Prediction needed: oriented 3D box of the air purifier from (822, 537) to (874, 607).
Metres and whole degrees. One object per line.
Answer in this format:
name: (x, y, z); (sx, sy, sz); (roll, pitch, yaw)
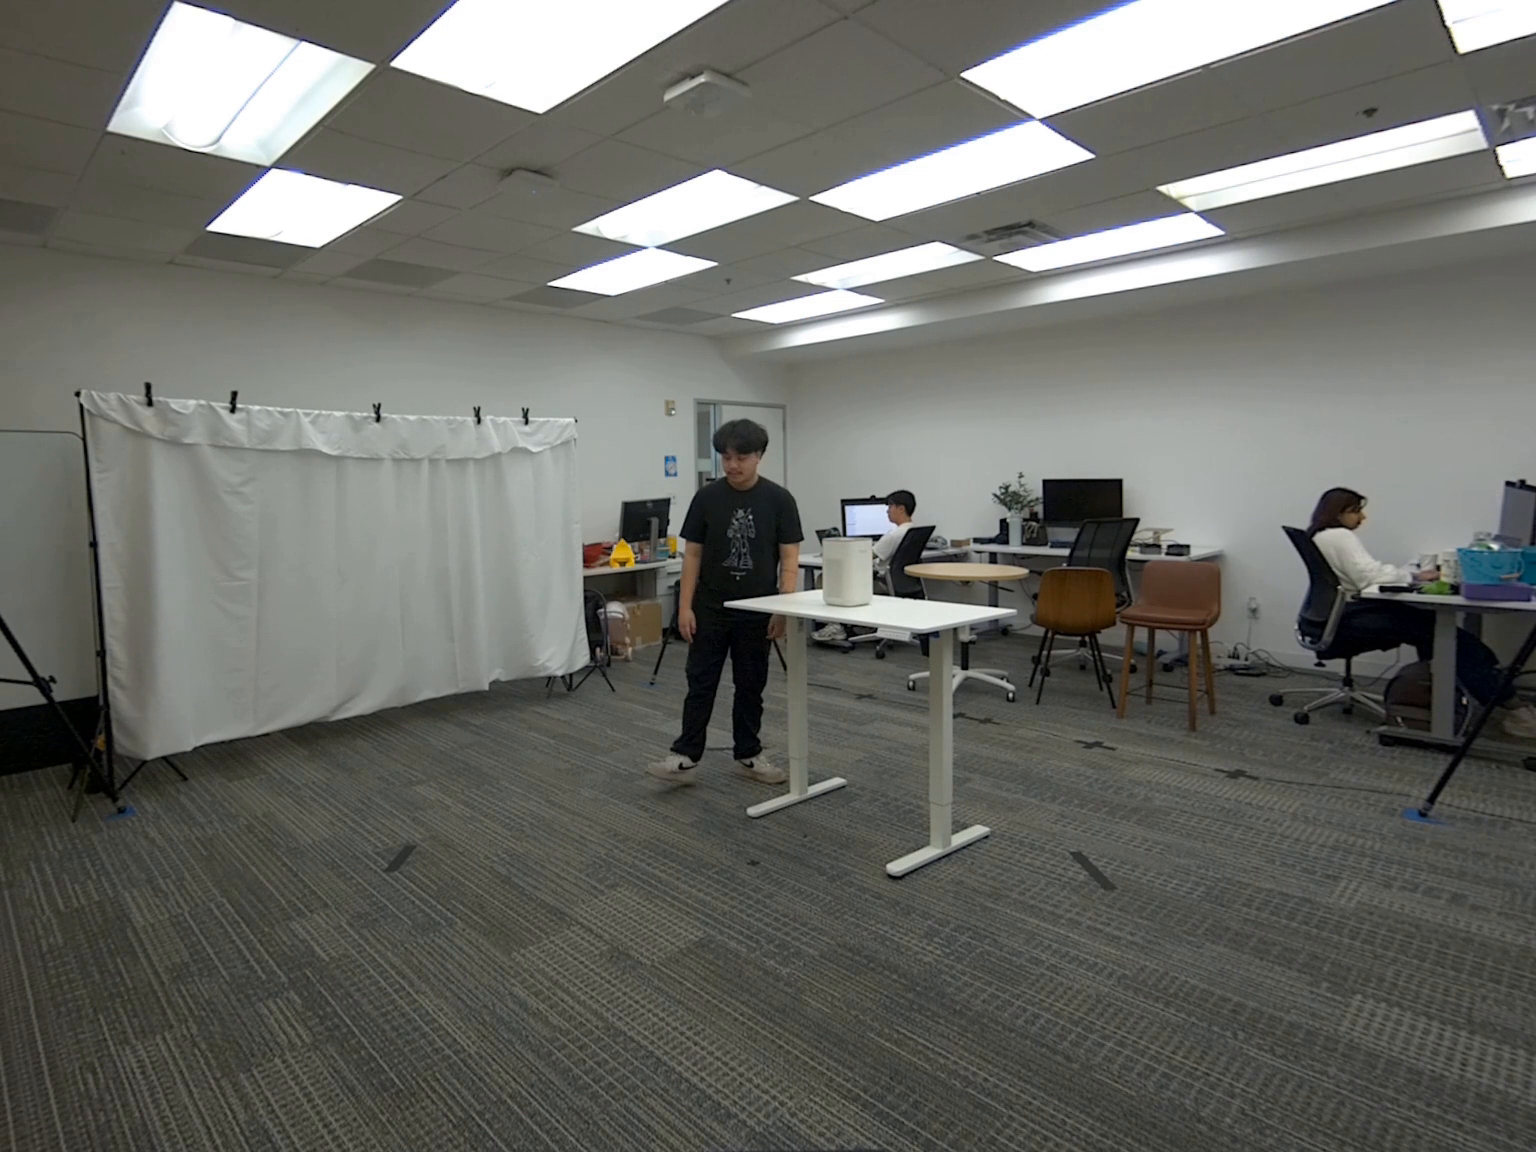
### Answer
air purifier: (0.318, -0.021, 3.438); (0.166, 0.264, 0.177); (-3, 5, -44)
